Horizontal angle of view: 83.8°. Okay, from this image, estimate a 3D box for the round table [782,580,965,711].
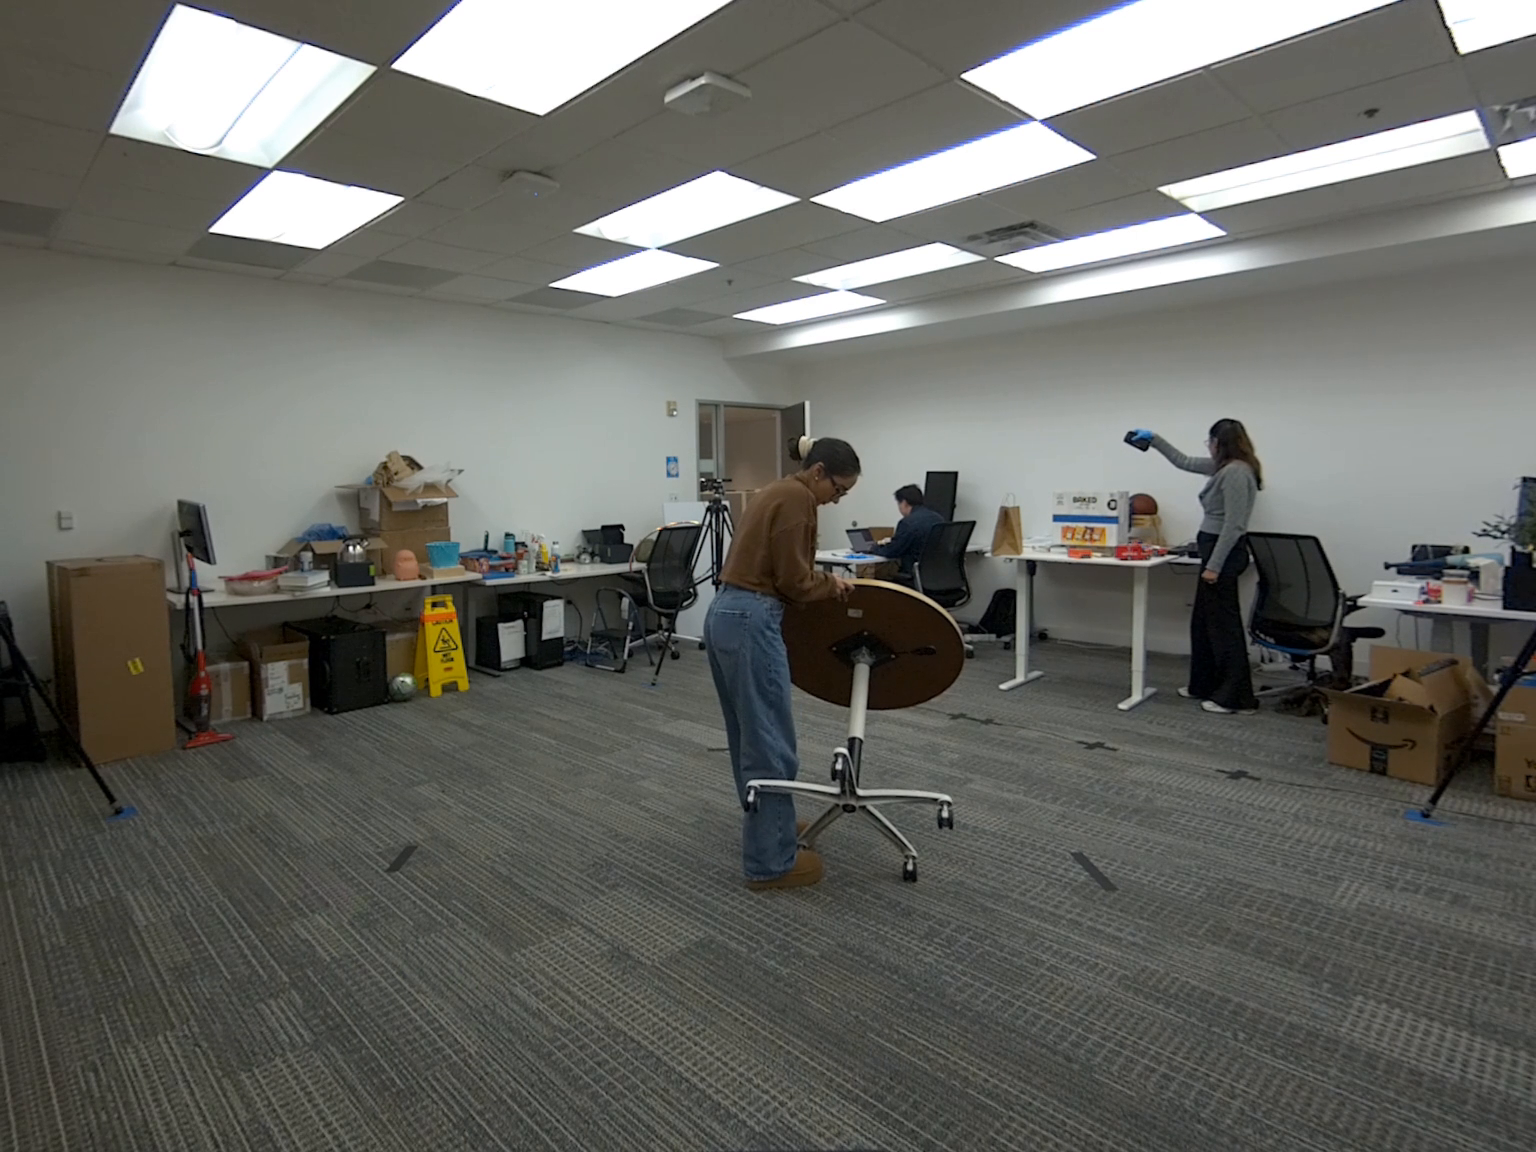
[{"bbox_3d":[0.329,0.563,3.078,0.774,0.739,0.810,0,45,13],"label":"round table"}]
